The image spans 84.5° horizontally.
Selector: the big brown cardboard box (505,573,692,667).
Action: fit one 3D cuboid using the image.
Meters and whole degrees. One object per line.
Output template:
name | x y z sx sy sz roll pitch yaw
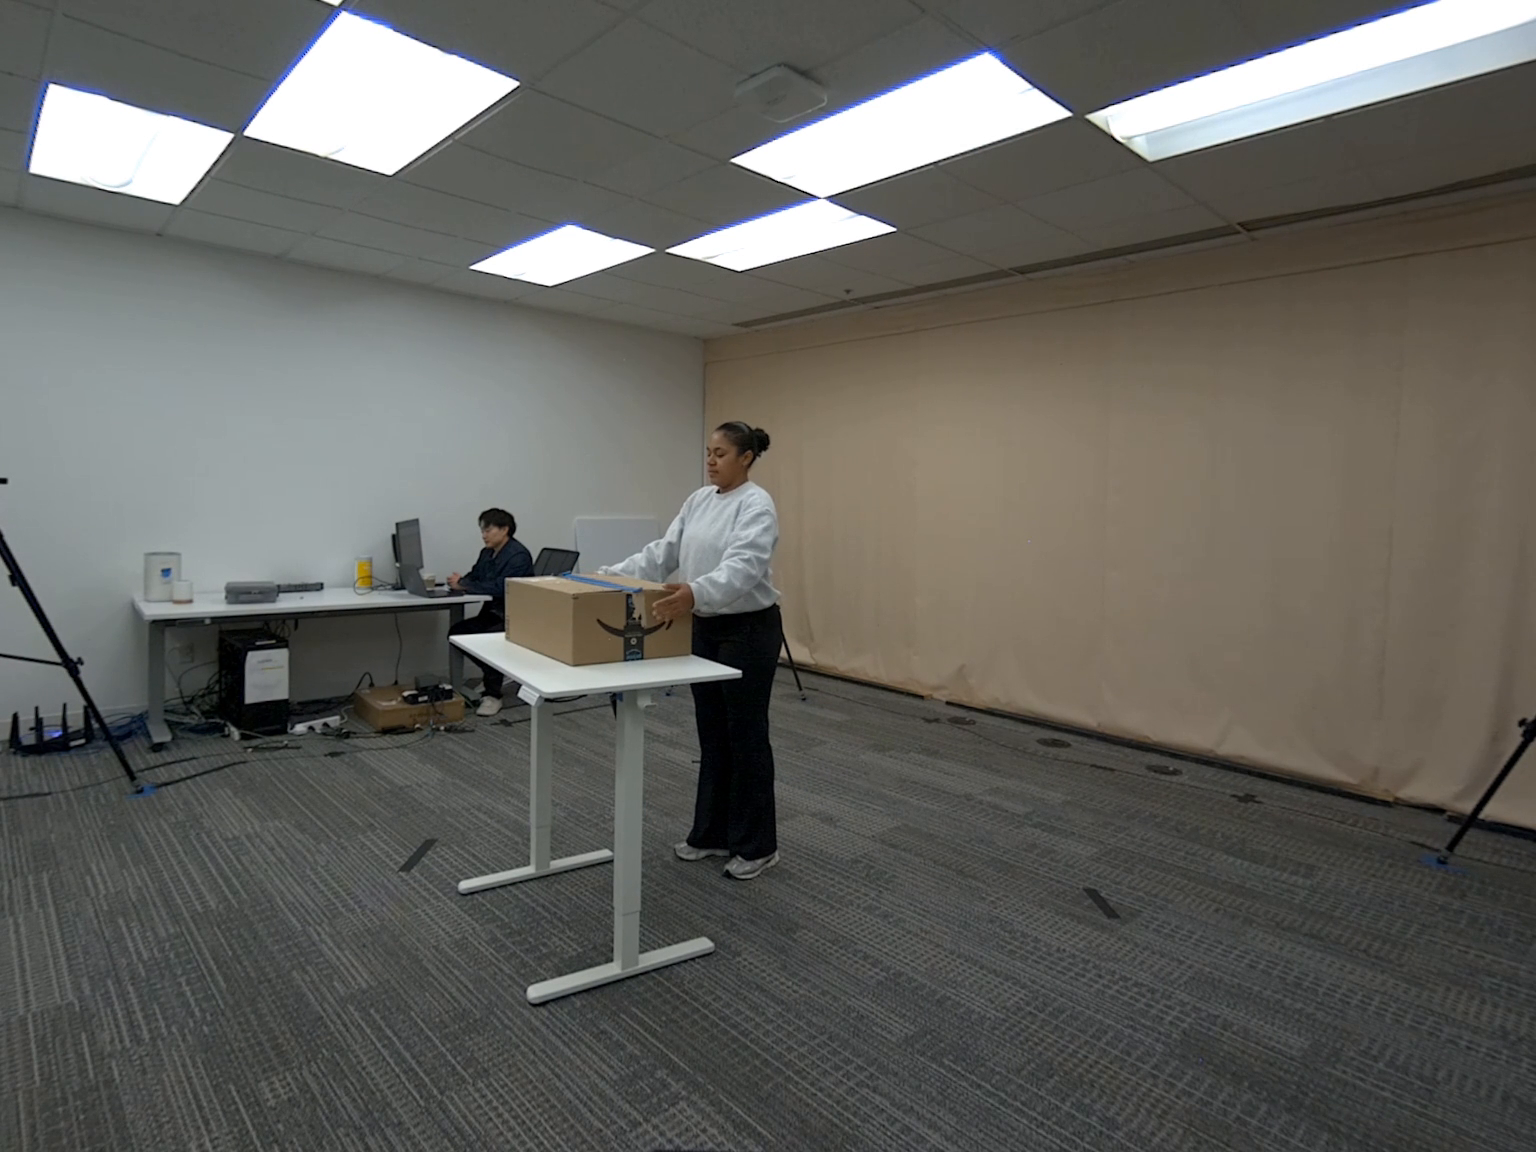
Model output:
big brown cardboard box | -0.588 0.132 2.823 0.408 0.232 0.604 -1 6 -36
